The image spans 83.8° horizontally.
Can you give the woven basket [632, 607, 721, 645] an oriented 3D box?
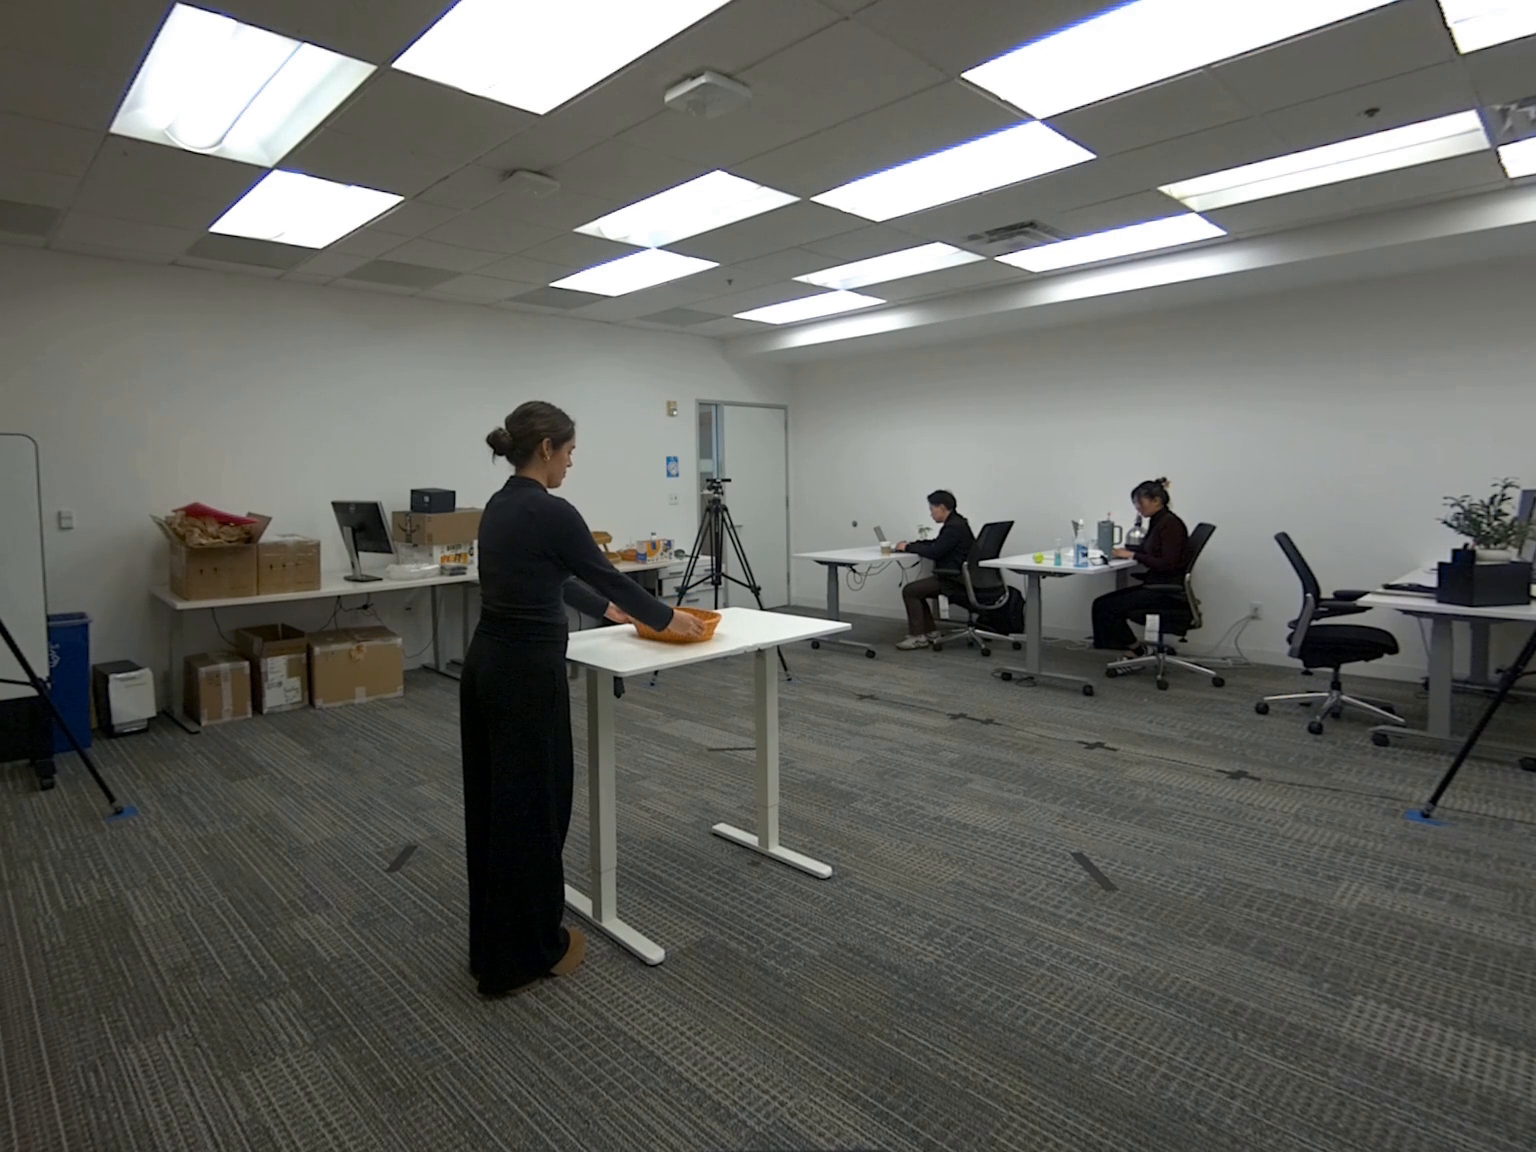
[{"bbox_3d":[-0.323,0.165,2.814,0.246,0.073,0.361,-8,10,-42],"label":"woven basket"}]
